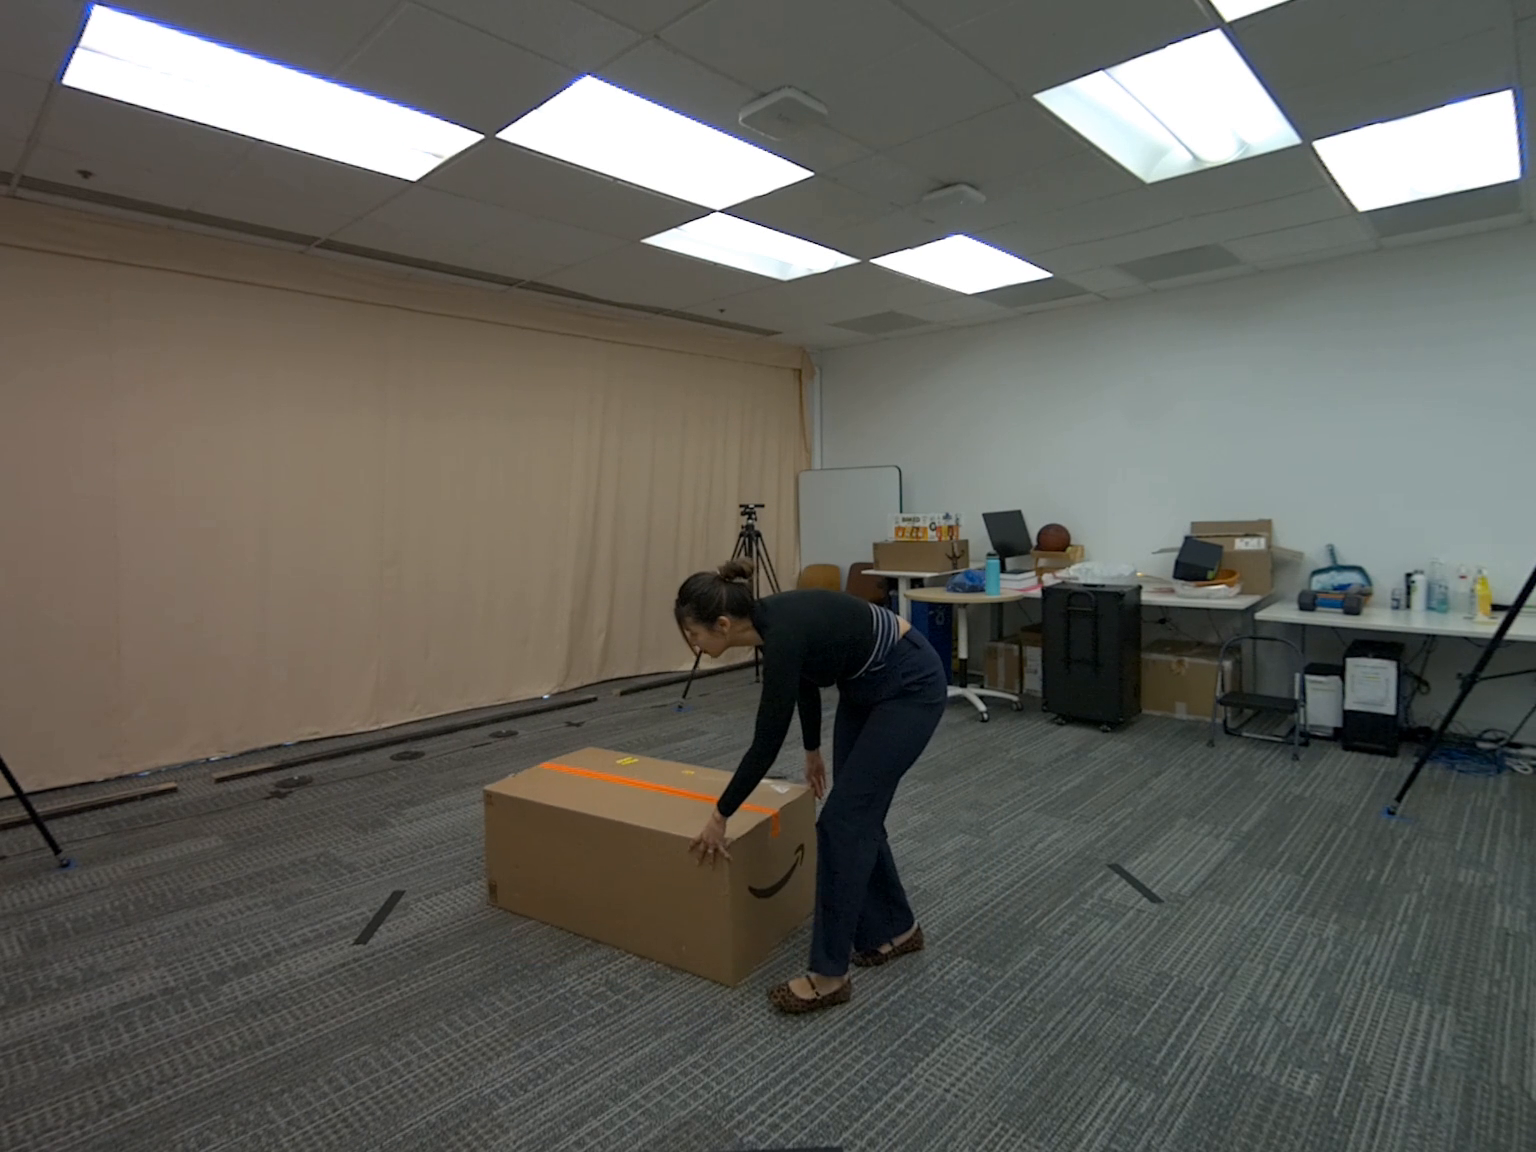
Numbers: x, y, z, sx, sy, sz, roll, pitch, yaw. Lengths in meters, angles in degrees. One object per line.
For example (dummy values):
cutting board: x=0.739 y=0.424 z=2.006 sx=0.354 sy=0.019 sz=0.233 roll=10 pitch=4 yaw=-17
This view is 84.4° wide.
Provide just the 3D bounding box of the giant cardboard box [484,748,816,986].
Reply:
giant cardboard box: x=-0.412 y=0.939 z=2.932 sx=1.056 sy=0.425 sz=0.562 roll=2 pitch=4 yaw=32
